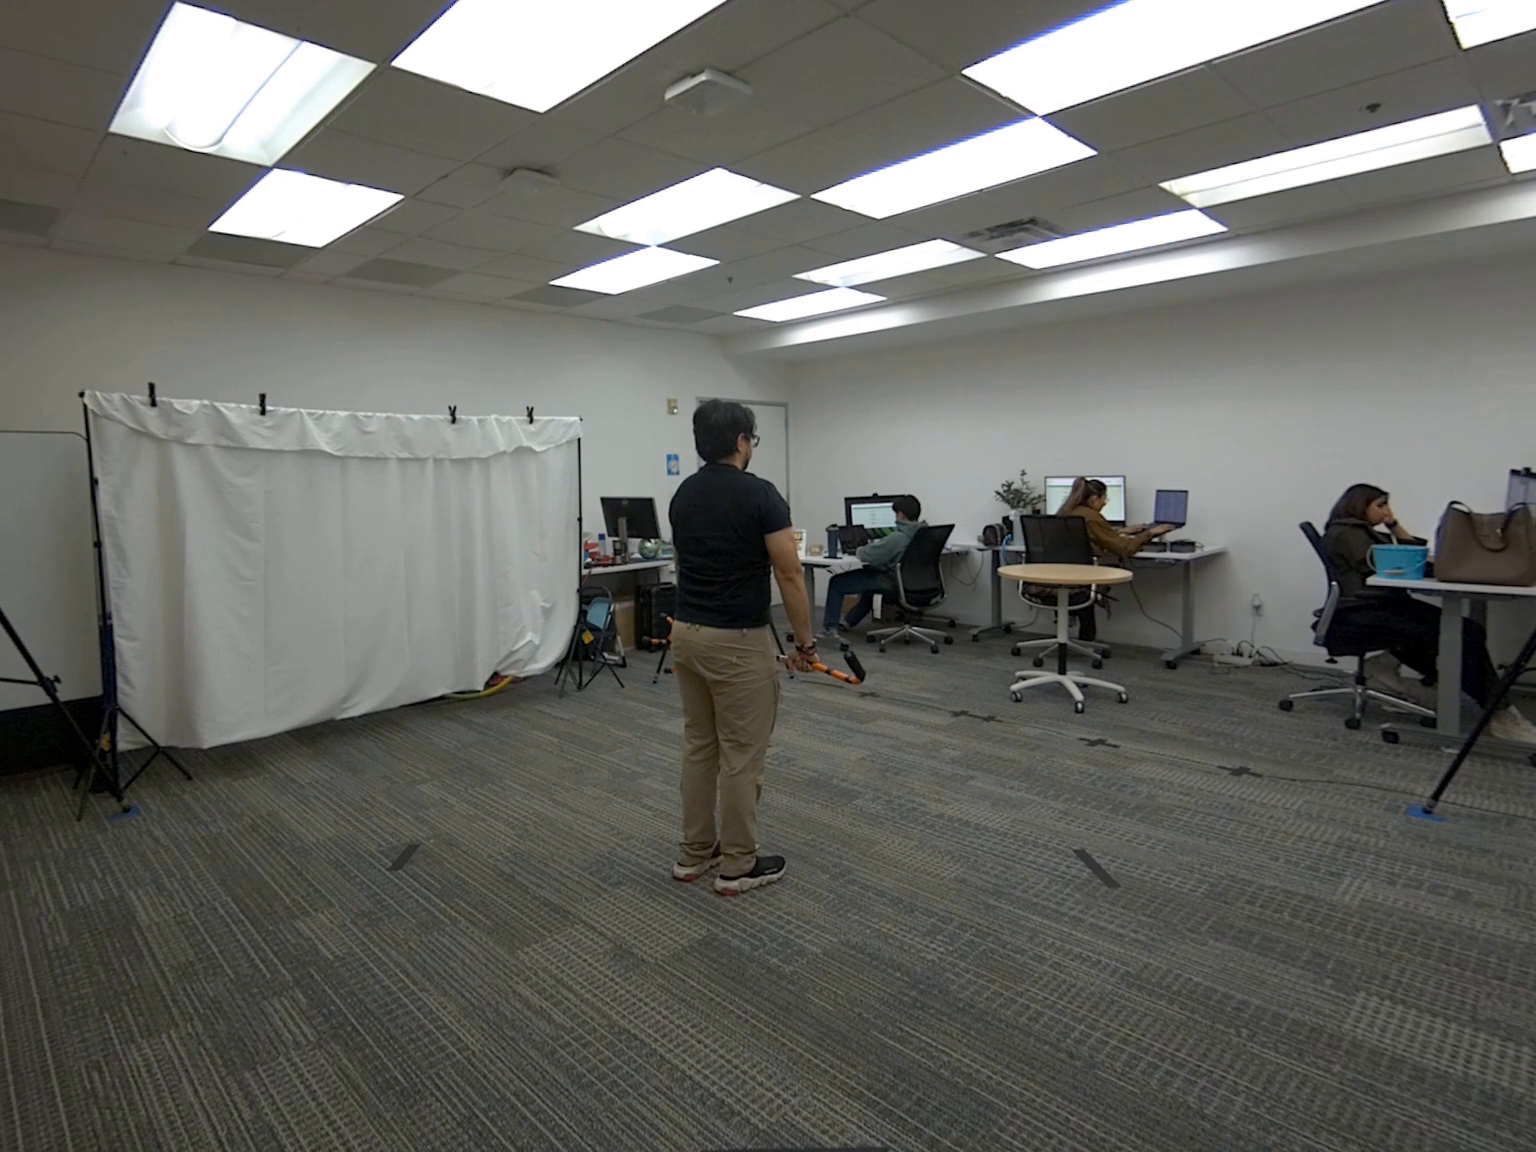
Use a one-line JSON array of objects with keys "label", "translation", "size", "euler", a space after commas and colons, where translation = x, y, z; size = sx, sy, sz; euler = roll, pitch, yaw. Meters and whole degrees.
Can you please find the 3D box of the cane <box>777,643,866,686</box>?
[{"label": "cane", "translation": [-0.038, 0.293, 3.055], "size": [0.936, 0.199, 0.152], "euler": [4, 49, 41]}]
